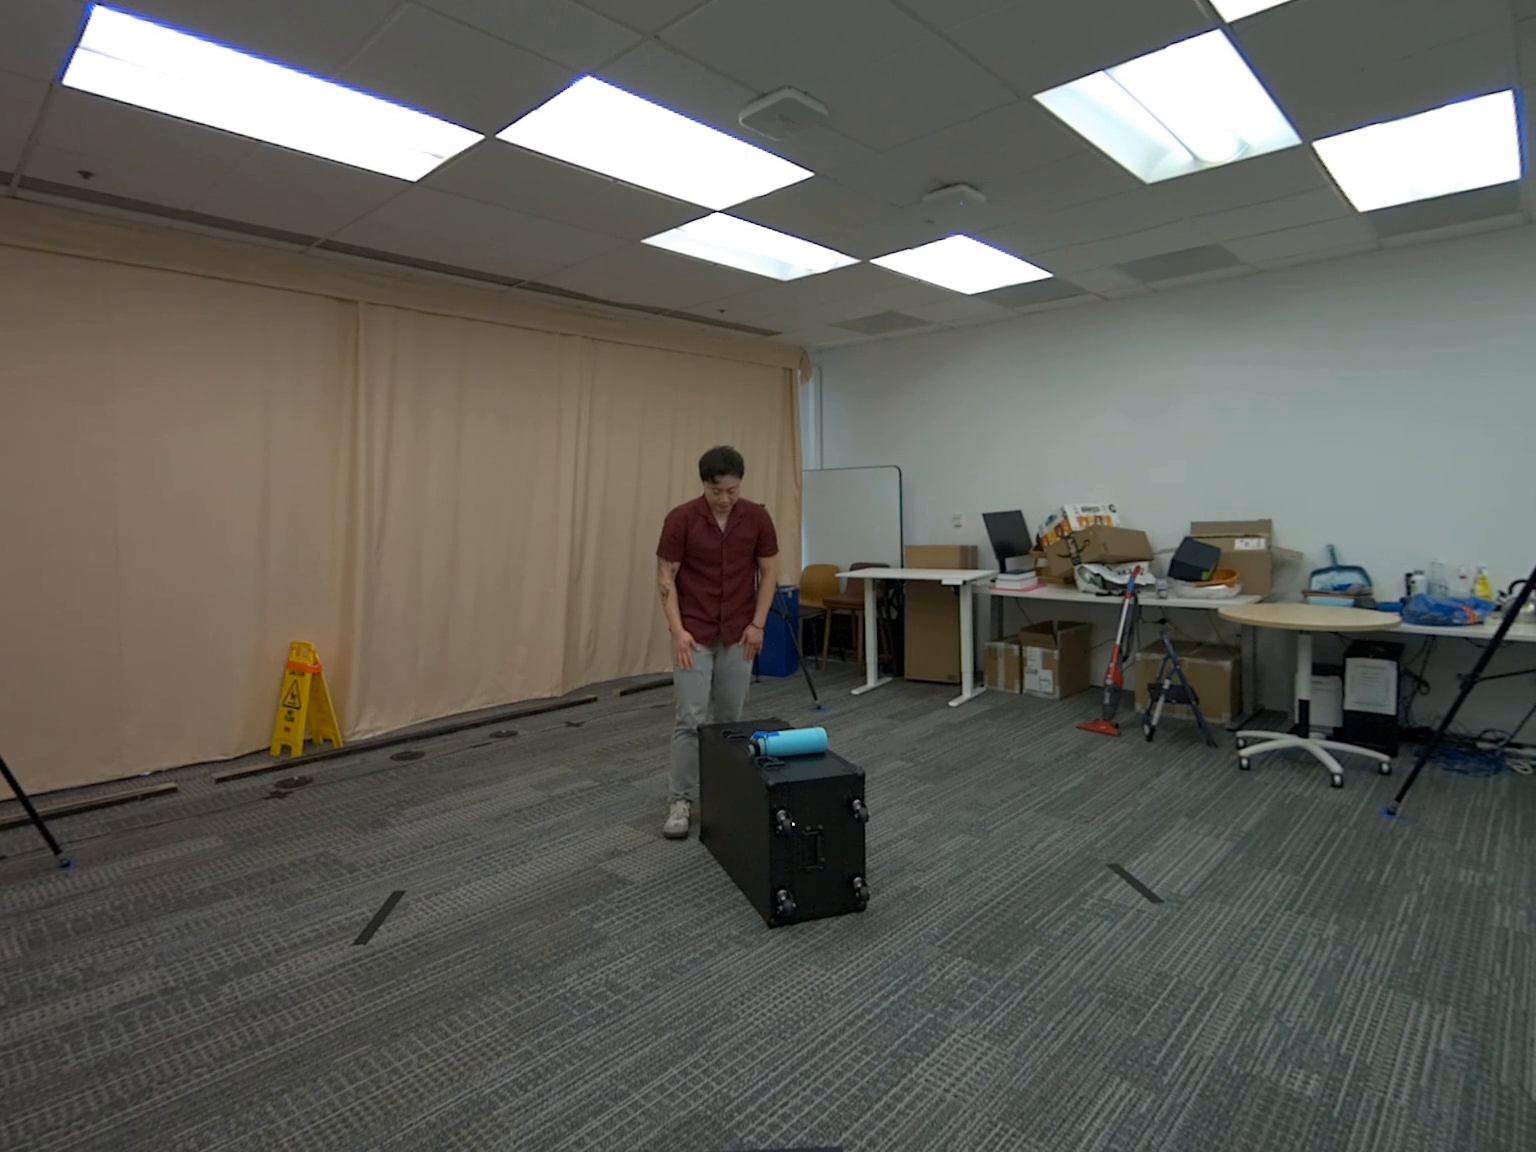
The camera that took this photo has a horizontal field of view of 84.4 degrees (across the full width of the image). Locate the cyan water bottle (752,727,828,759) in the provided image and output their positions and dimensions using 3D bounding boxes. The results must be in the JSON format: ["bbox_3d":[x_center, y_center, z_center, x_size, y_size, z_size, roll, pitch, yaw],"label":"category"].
[{"bbox_3d":[0.073,0.603,3.046,0.280,0.092,0.093,-2,4,-10],"label":"cyan water bottle"}]
